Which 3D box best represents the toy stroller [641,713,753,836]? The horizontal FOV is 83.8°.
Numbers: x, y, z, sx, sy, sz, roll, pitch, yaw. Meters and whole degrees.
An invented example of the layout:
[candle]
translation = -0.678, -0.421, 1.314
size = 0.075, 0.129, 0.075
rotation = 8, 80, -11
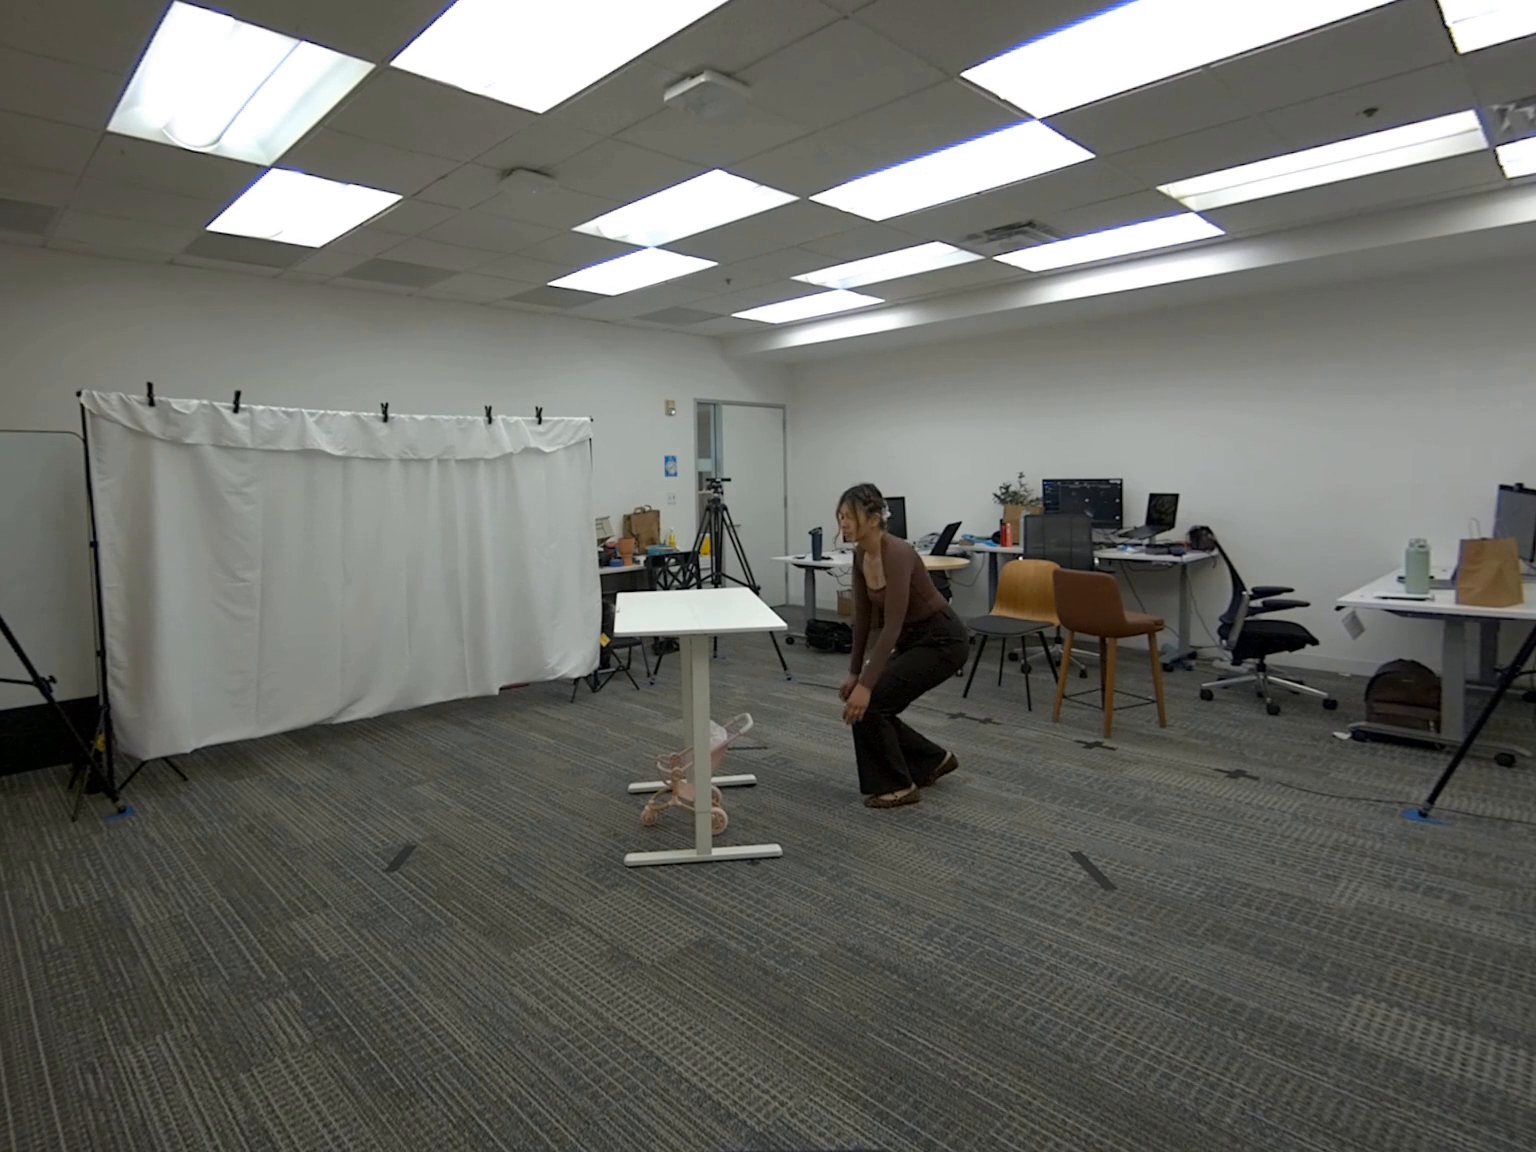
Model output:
[toy stroller]
translation = -0.295, 0.779, 3.467
size = 0.340, 0.534, 0.283
rotation = 15, 3, -4
